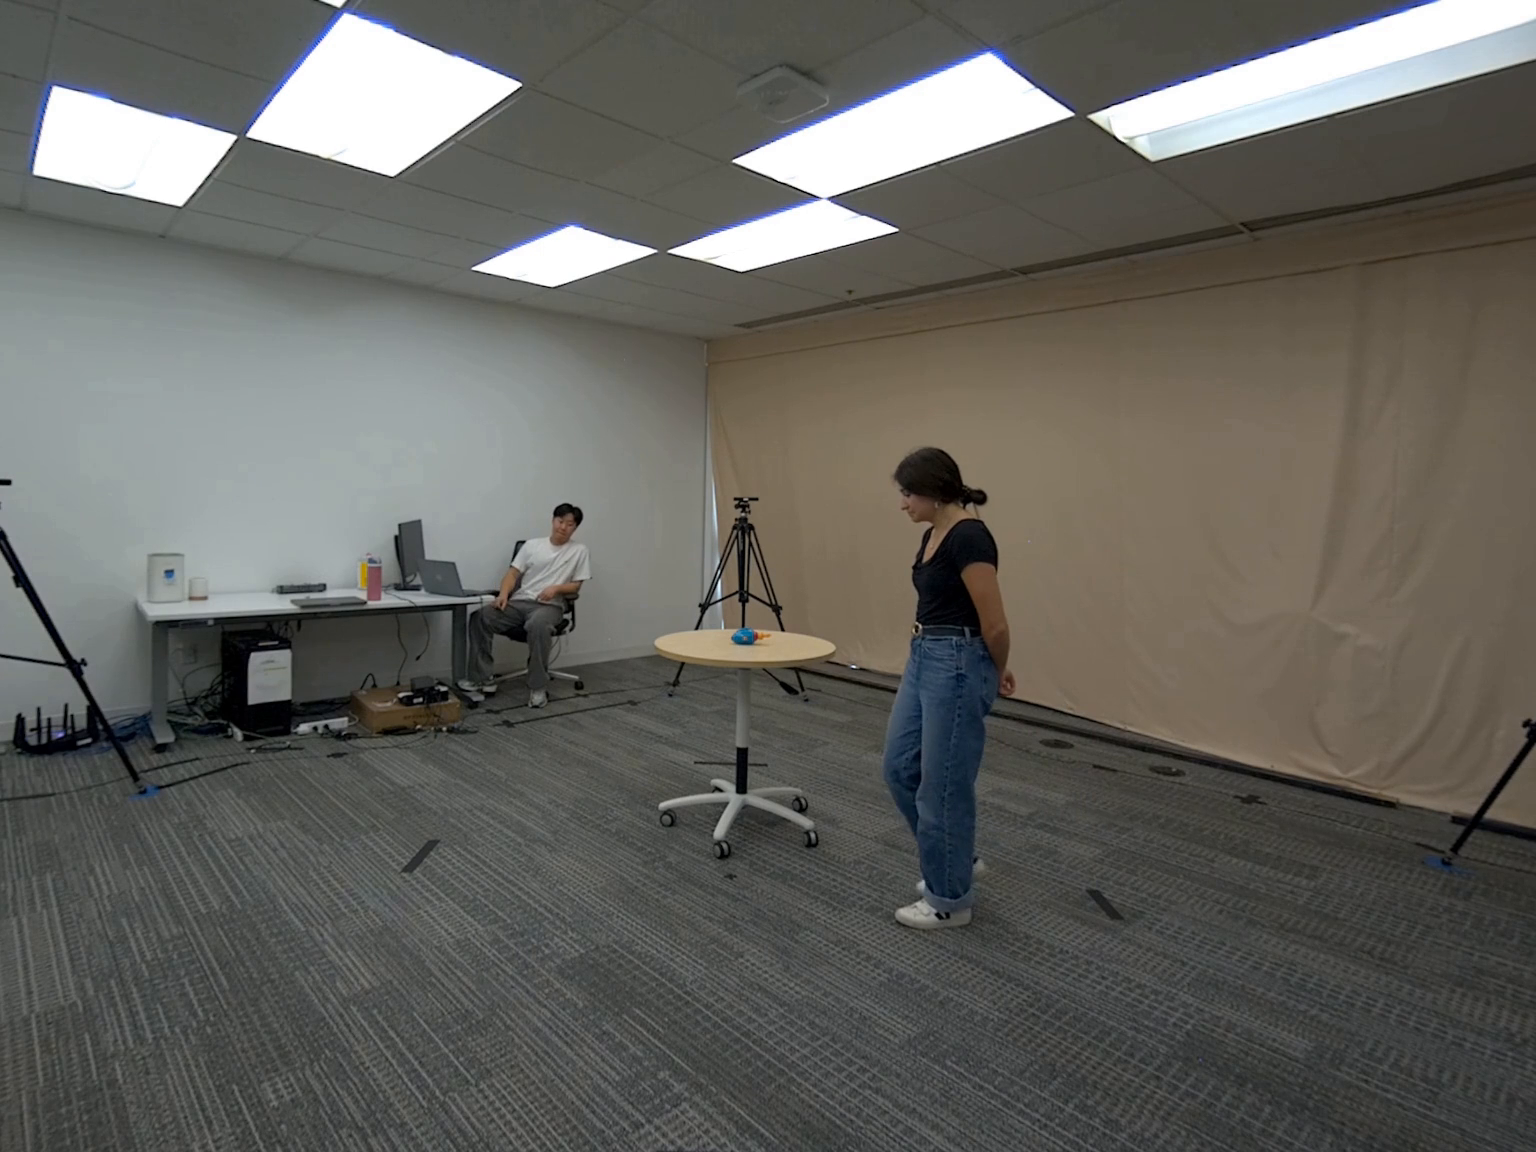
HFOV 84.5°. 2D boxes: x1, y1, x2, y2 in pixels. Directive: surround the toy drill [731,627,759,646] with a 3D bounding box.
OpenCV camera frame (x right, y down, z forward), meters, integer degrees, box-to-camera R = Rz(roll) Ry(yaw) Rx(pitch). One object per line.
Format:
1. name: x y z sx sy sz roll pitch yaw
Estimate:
1. toy drill: -0.074 0.255 3.584 0.171 0.061 0.145 -7 3 7
